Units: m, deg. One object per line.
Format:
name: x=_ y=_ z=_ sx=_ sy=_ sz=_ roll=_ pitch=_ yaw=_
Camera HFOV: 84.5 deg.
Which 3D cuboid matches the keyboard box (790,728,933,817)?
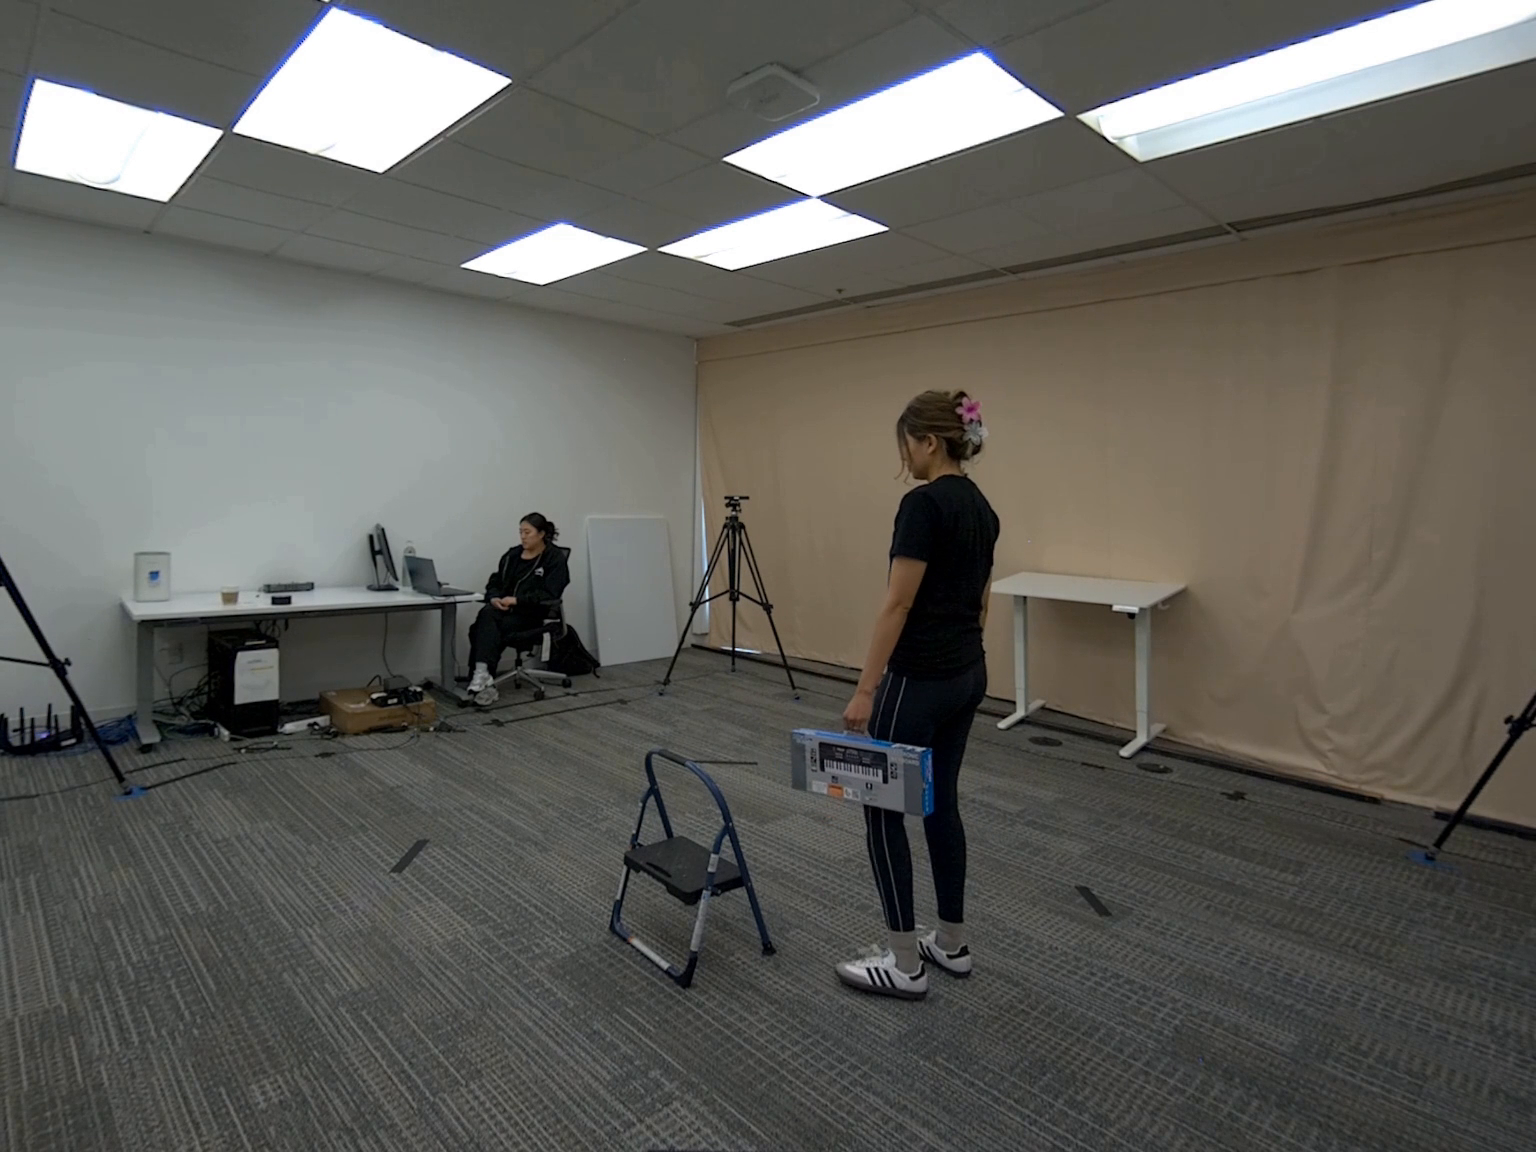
keyboard box: x=0.254 y=0.550 z=2.366 sx=0.447 sy=0.176 sz=0.058 roll=1 pitch=1 yaw=40
